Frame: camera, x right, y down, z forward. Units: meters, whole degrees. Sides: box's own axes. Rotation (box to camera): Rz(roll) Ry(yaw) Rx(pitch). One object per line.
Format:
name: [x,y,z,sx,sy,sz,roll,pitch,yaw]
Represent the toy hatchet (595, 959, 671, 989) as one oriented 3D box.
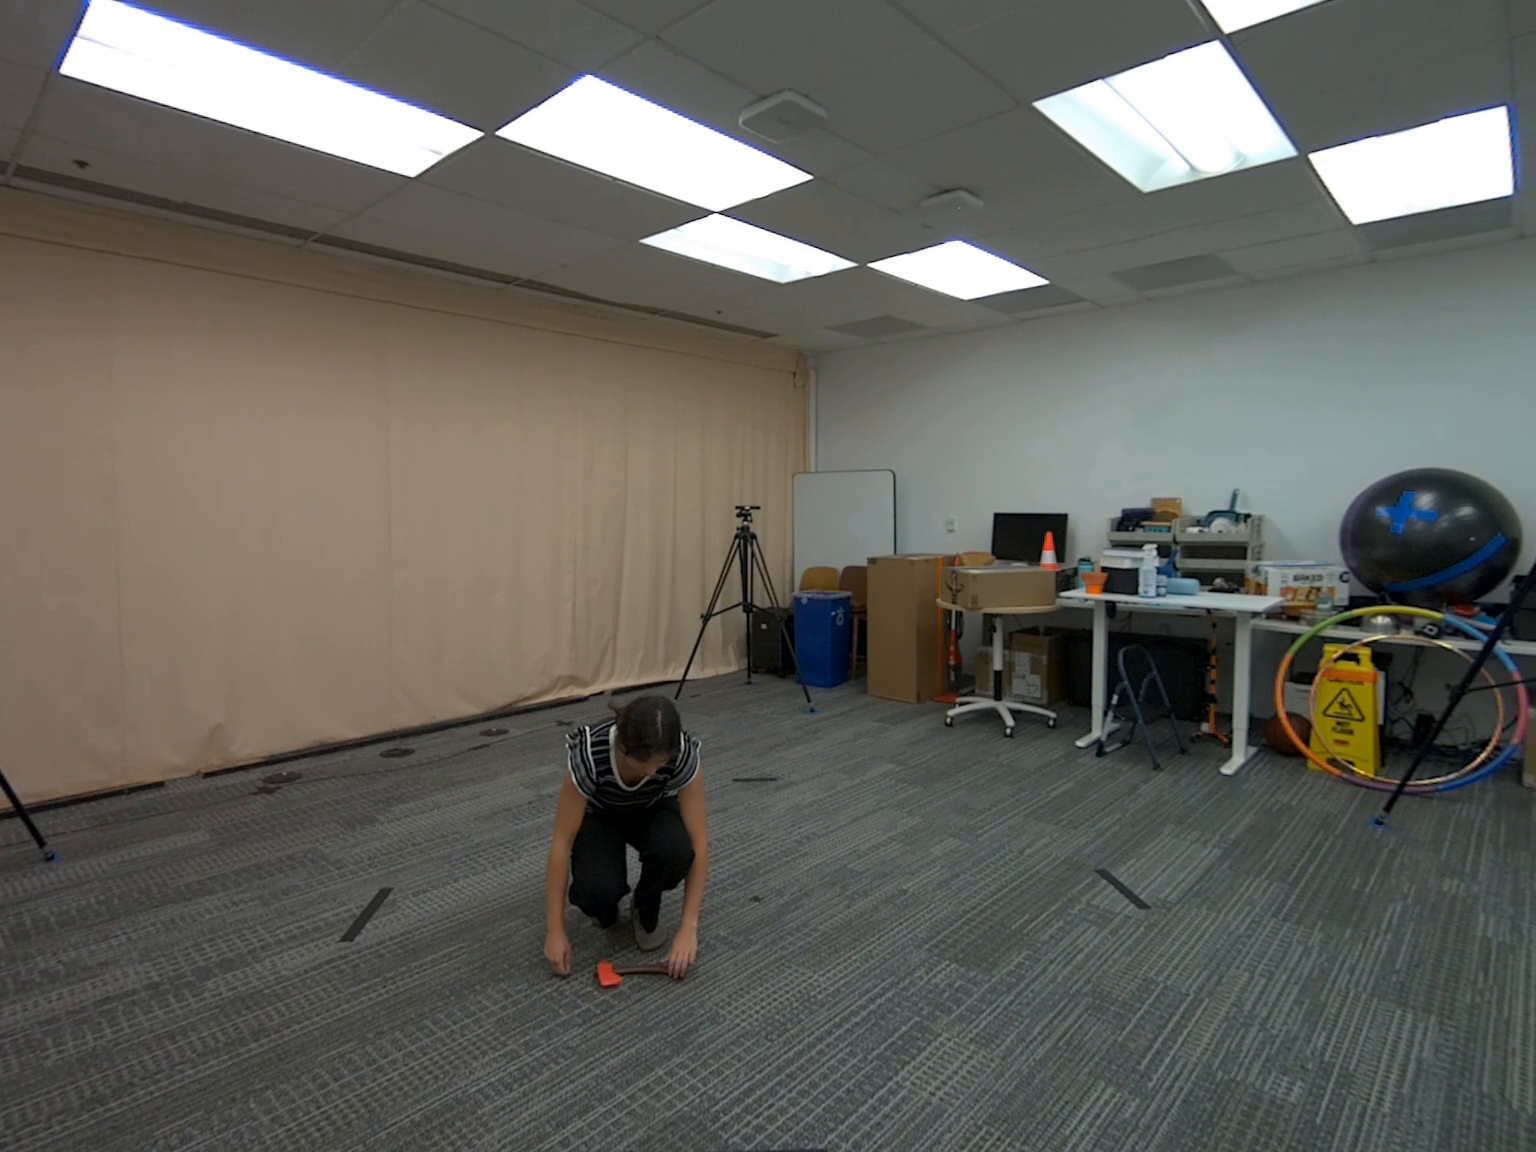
toy hatchet: [-0.375,1.173,2.480,0.273,0.029,0.129,1,3,10]
